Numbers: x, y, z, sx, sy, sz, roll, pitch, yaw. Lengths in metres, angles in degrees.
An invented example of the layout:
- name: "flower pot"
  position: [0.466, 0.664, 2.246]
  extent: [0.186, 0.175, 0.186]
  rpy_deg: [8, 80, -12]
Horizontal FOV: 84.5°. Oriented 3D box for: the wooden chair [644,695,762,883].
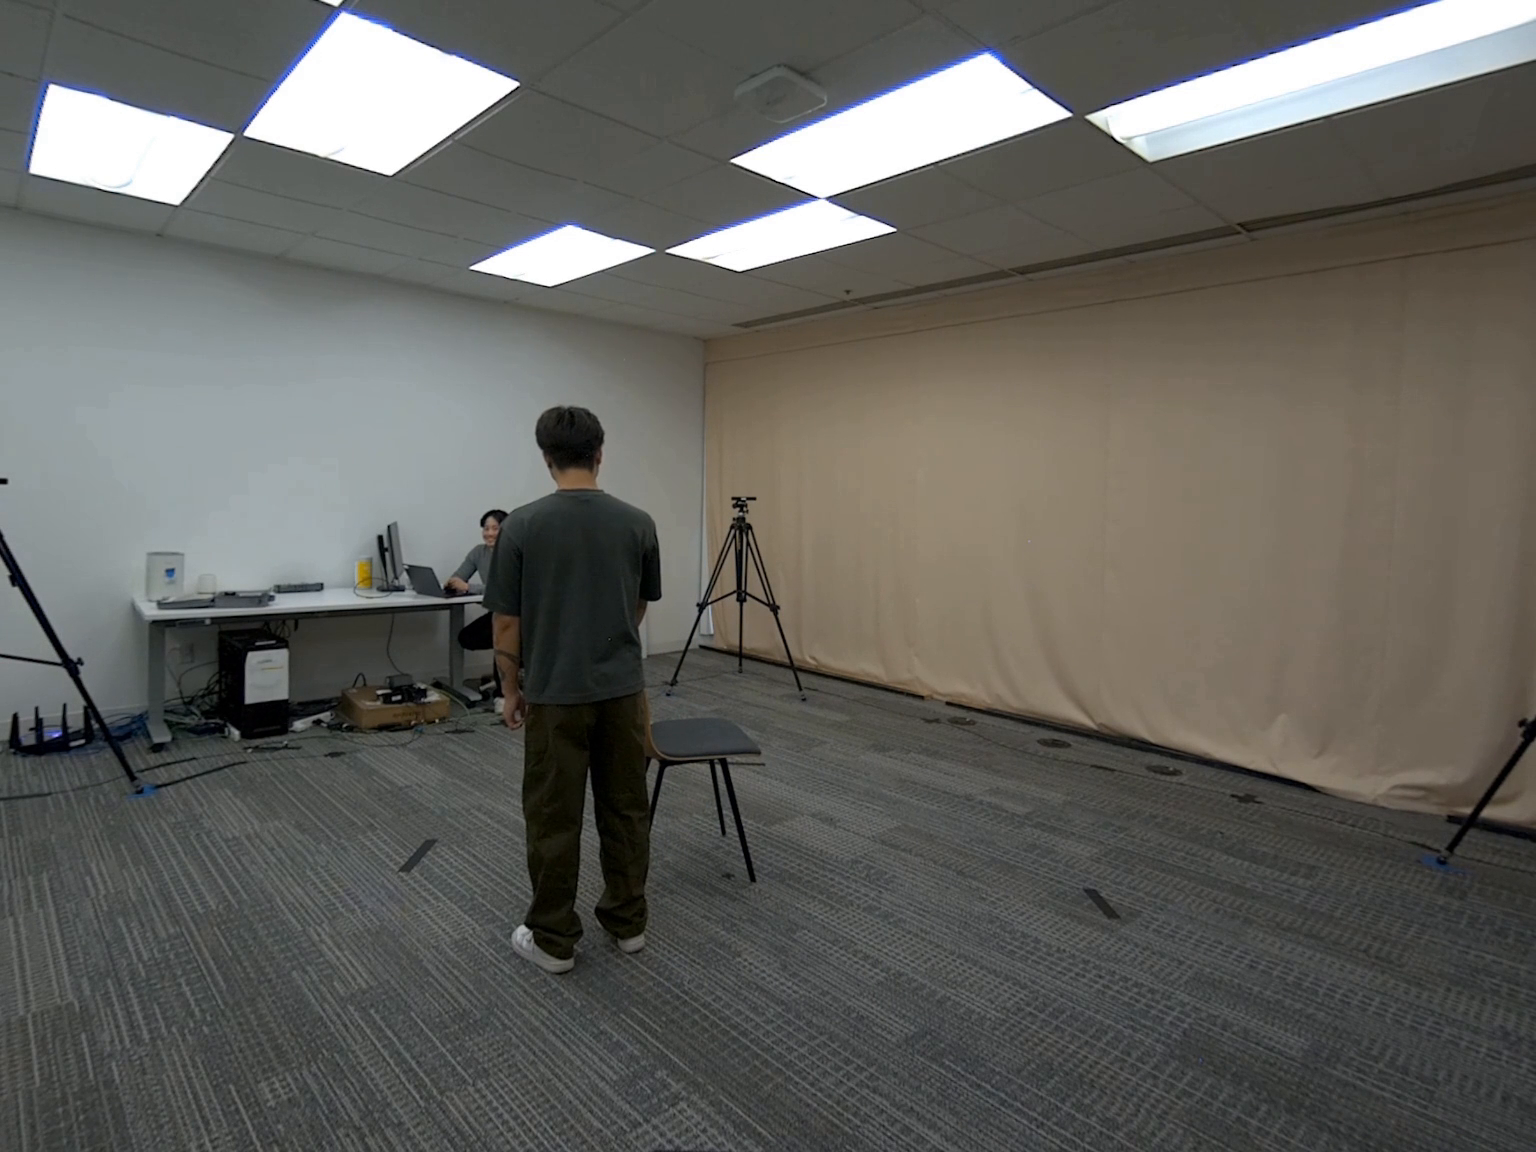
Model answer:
- name: "wooden chair"
  position: [-0.314, 0.668, 3.185]
  extent: [0.517, 0.875, 0.485]
  rpy_deg: [-4, 4, -16]
